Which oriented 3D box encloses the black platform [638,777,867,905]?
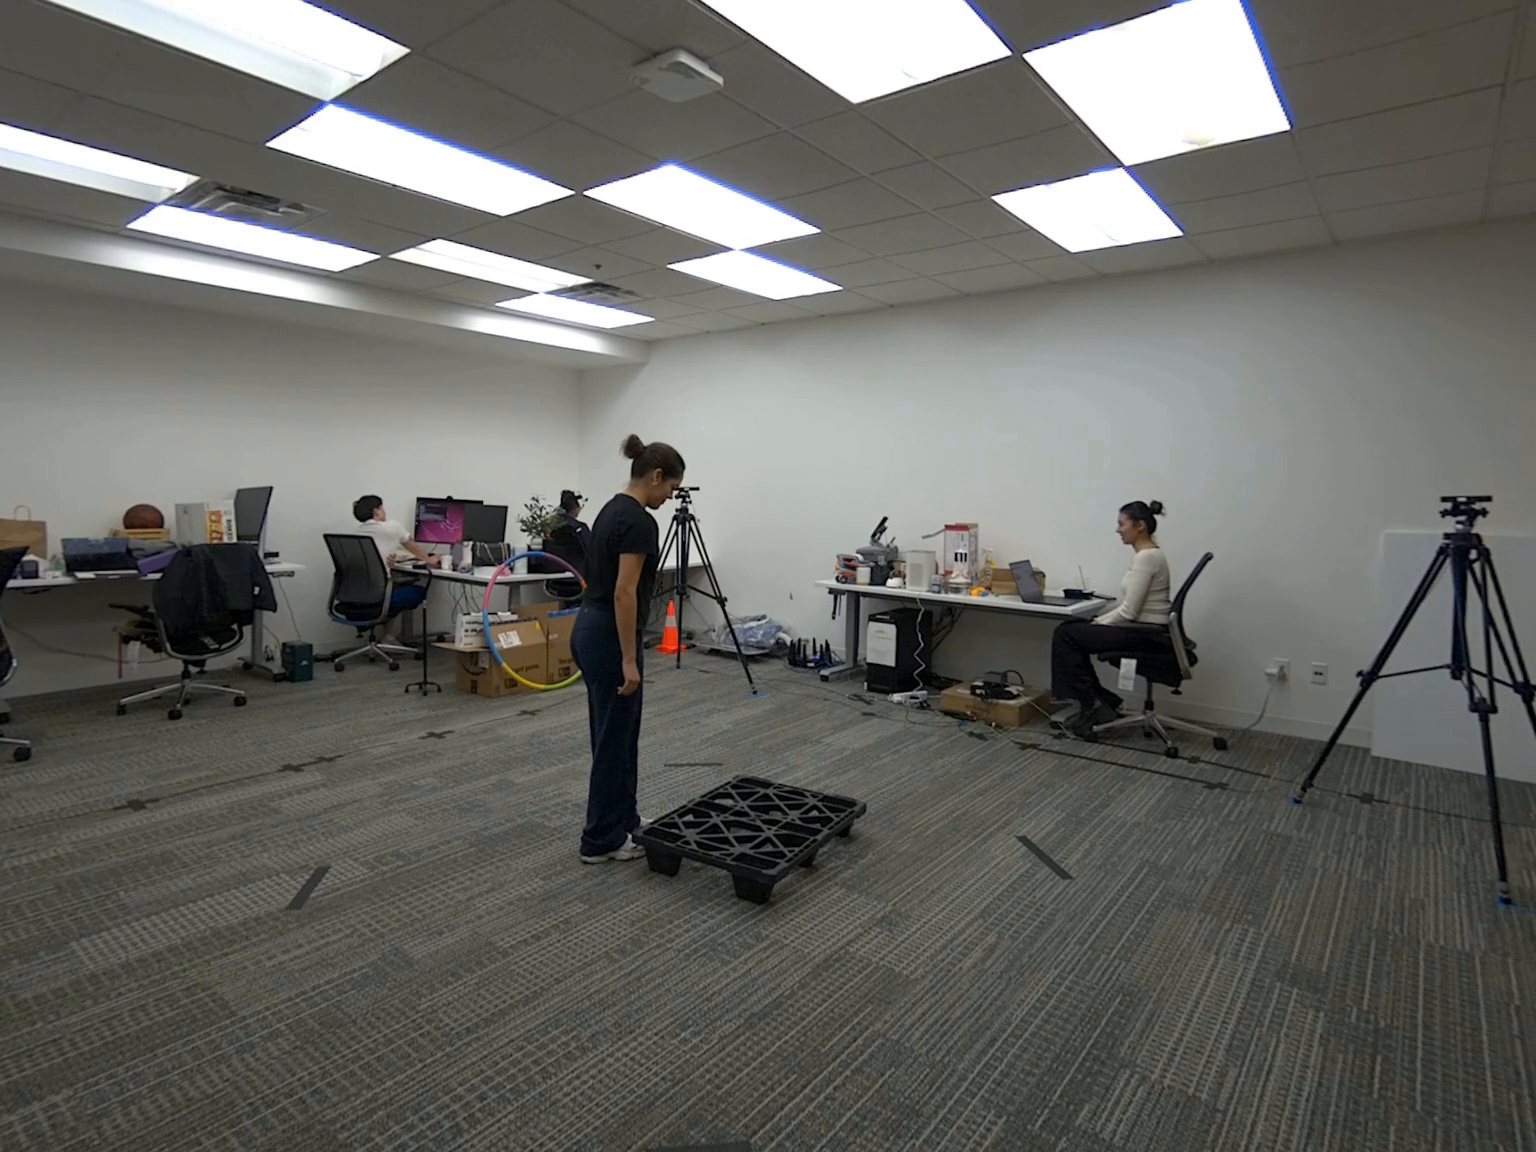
[{"bbox_3d":[-0.040,0.986,3.273,0.623,0.143,0.785,4,6,31],"label":"black platform"}]
